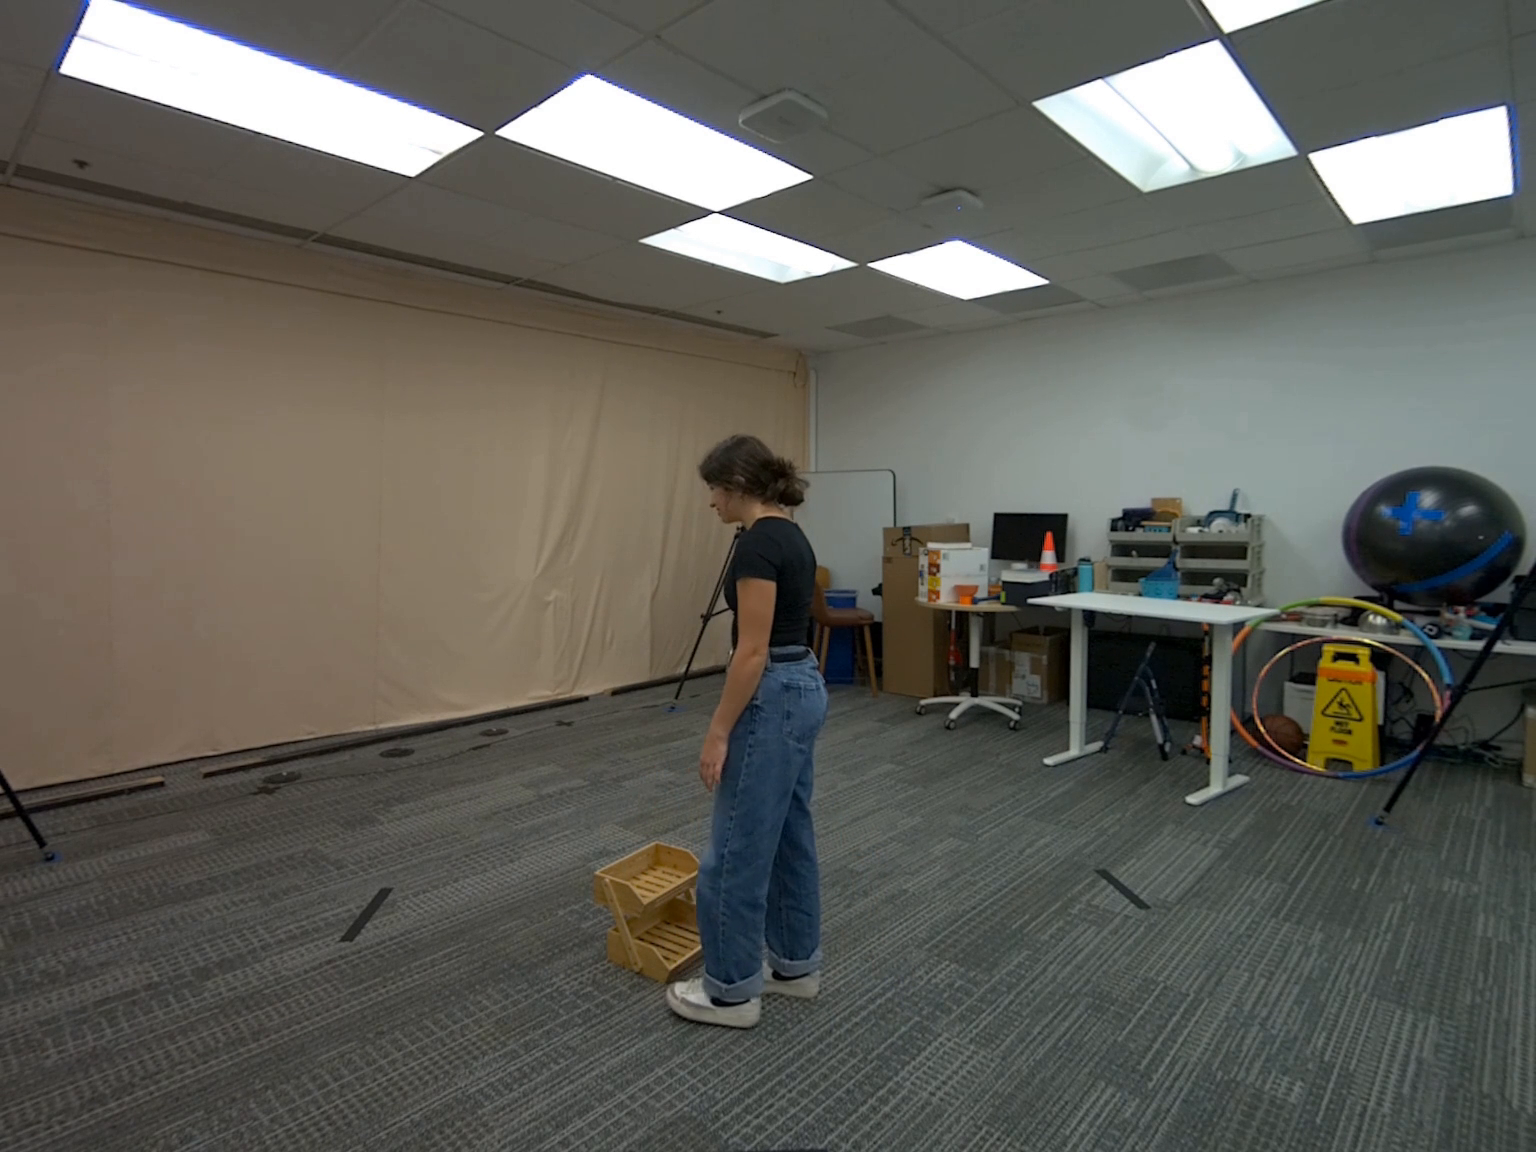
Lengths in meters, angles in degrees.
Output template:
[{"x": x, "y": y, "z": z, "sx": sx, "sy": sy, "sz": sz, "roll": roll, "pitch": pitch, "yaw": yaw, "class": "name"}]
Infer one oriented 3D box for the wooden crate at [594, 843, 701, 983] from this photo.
[{"x": -0.332, "y": 1.045, "z": 2.639, "sx": 0.311, "sy": 0.273, "sz": 0.315, "roll": 1, "pitch": 4, "yaw": 35, "class": "wooden crate"}]
